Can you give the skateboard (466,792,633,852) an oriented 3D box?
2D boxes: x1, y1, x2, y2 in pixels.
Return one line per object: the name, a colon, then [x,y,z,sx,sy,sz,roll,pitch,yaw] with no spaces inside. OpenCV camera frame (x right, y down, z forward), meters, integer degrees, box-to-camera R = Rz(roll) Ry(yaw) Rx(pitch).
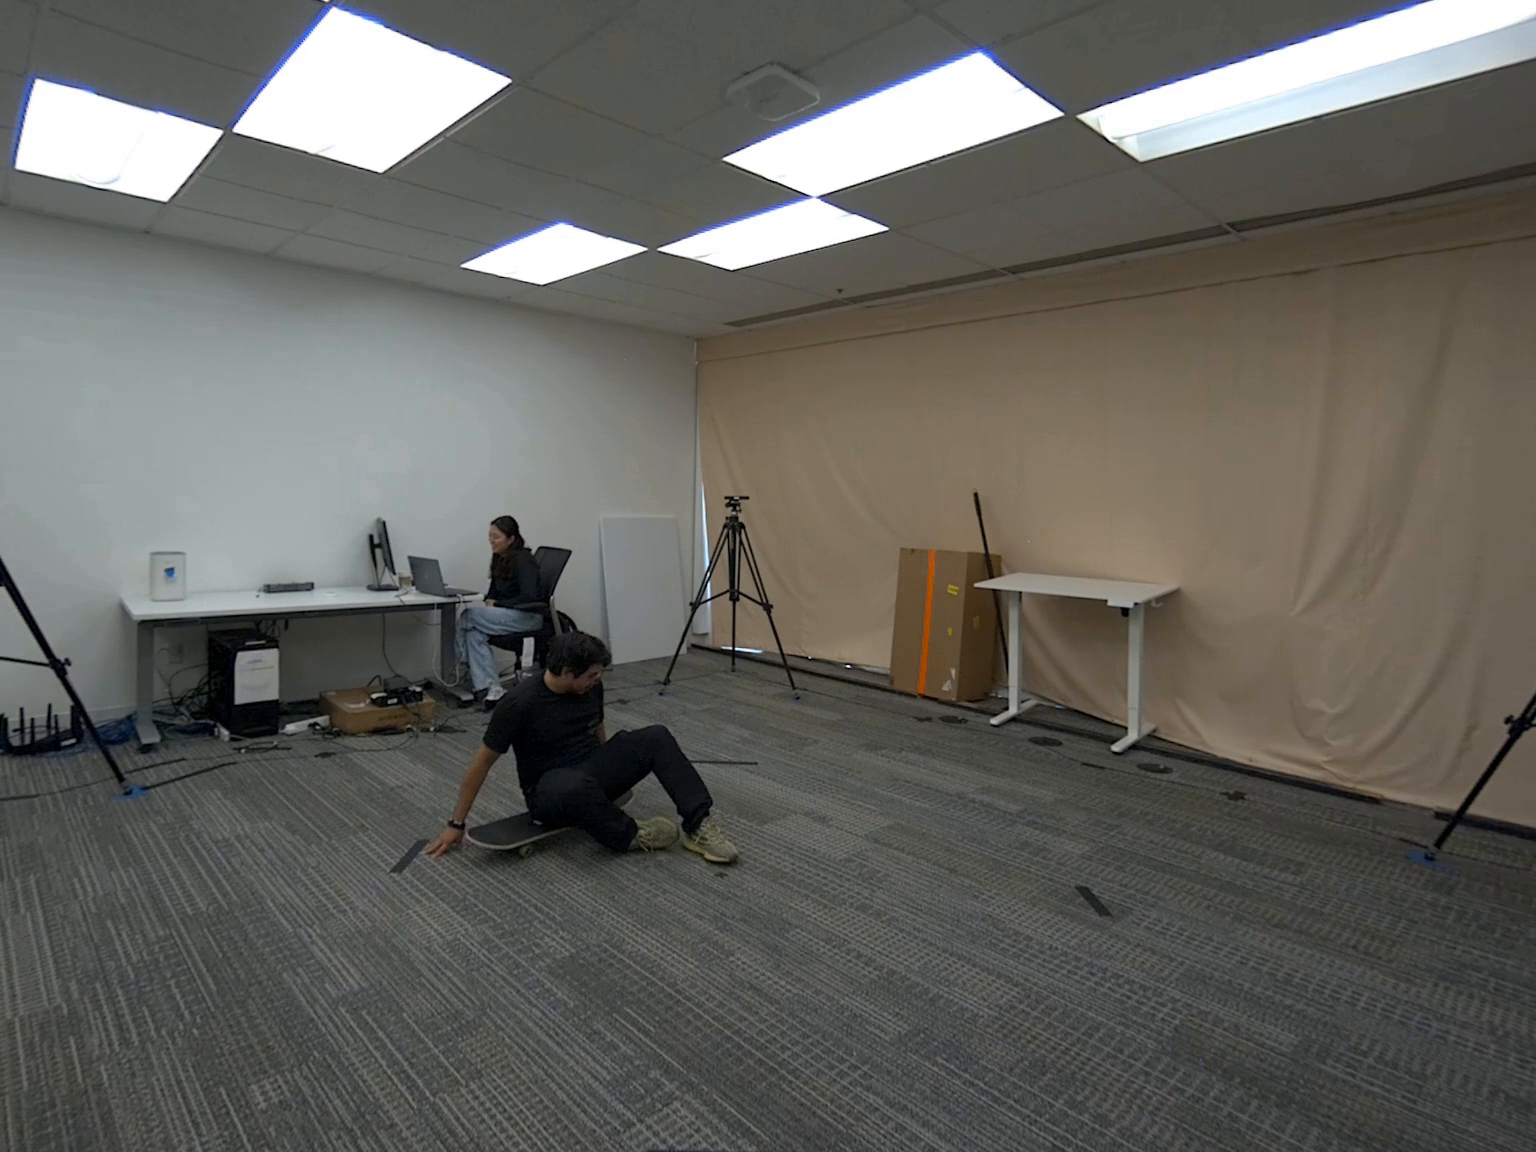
skateboard: [-0.872,1.002,3.420,0.199,0.110,0.768,14,12,38]
